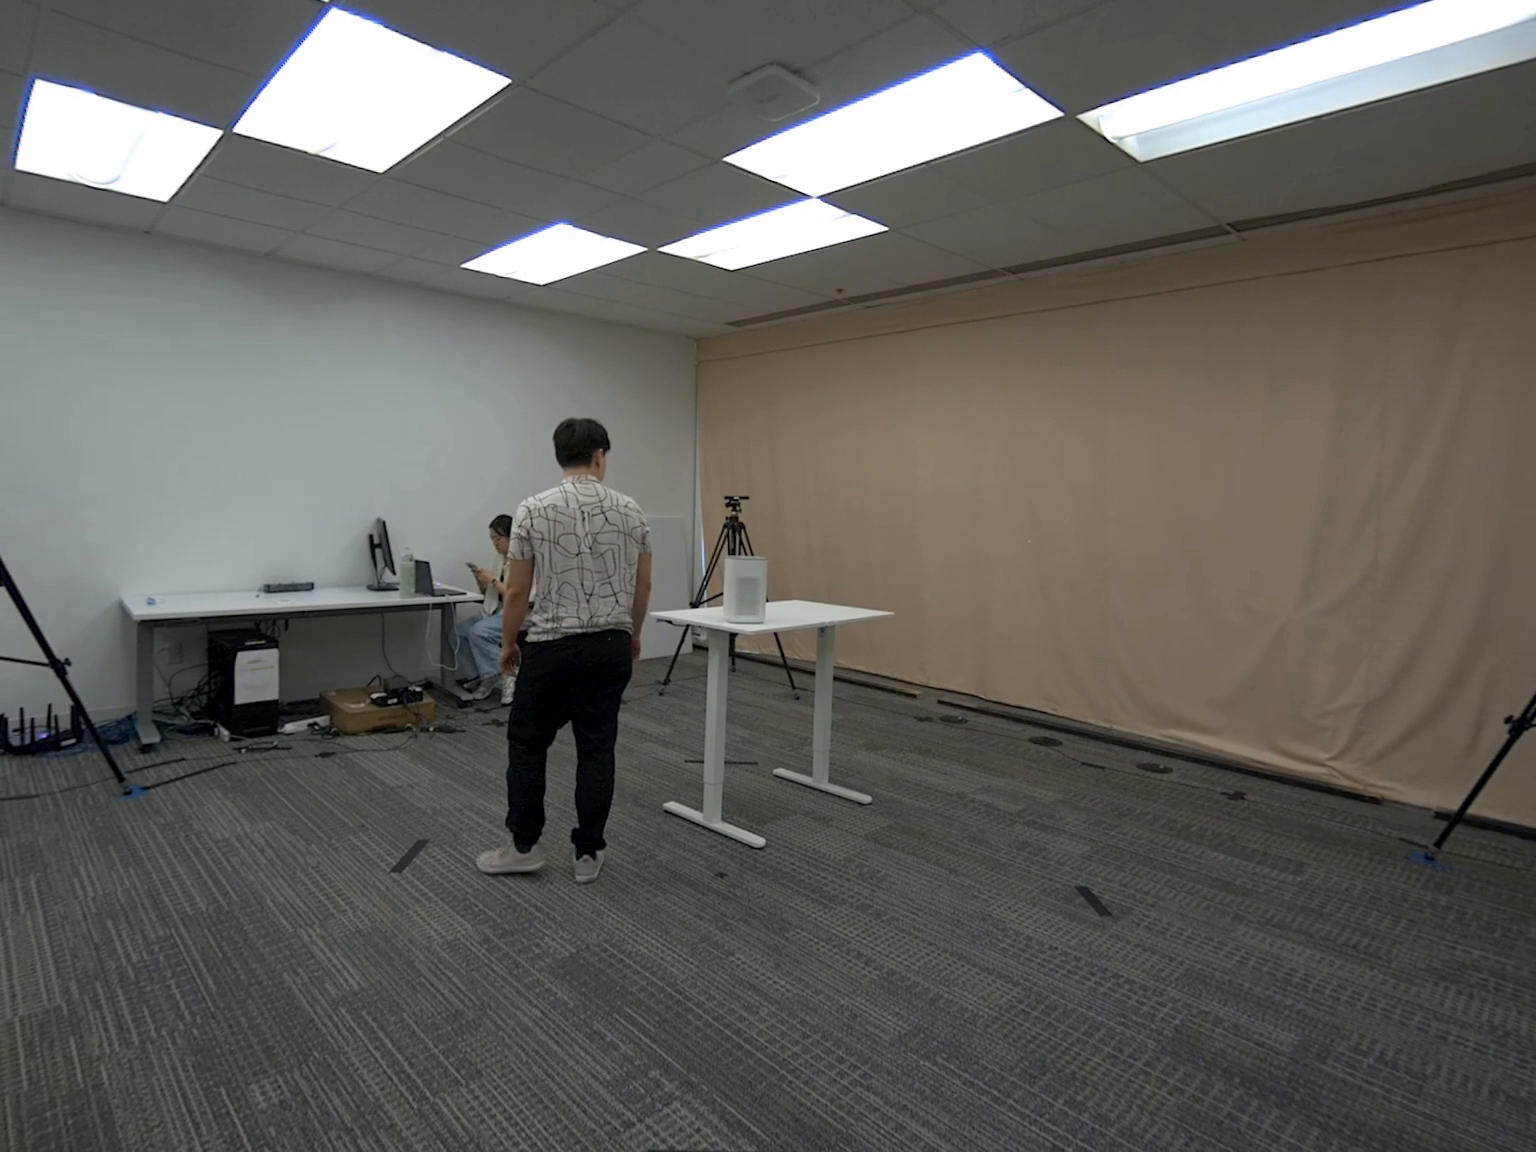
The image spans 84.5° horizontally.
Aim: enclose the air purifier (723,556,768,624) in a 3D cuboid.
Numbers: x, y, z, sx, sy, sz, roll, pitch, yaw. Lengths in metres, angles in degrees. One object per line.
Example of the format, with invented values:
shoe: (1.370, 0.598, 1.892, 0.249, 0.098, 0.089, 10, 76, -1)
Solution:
air purifier: (-0.107, 0.055, 3.473, 0.171, 0.265, 0.172, 2, 3, -4)
